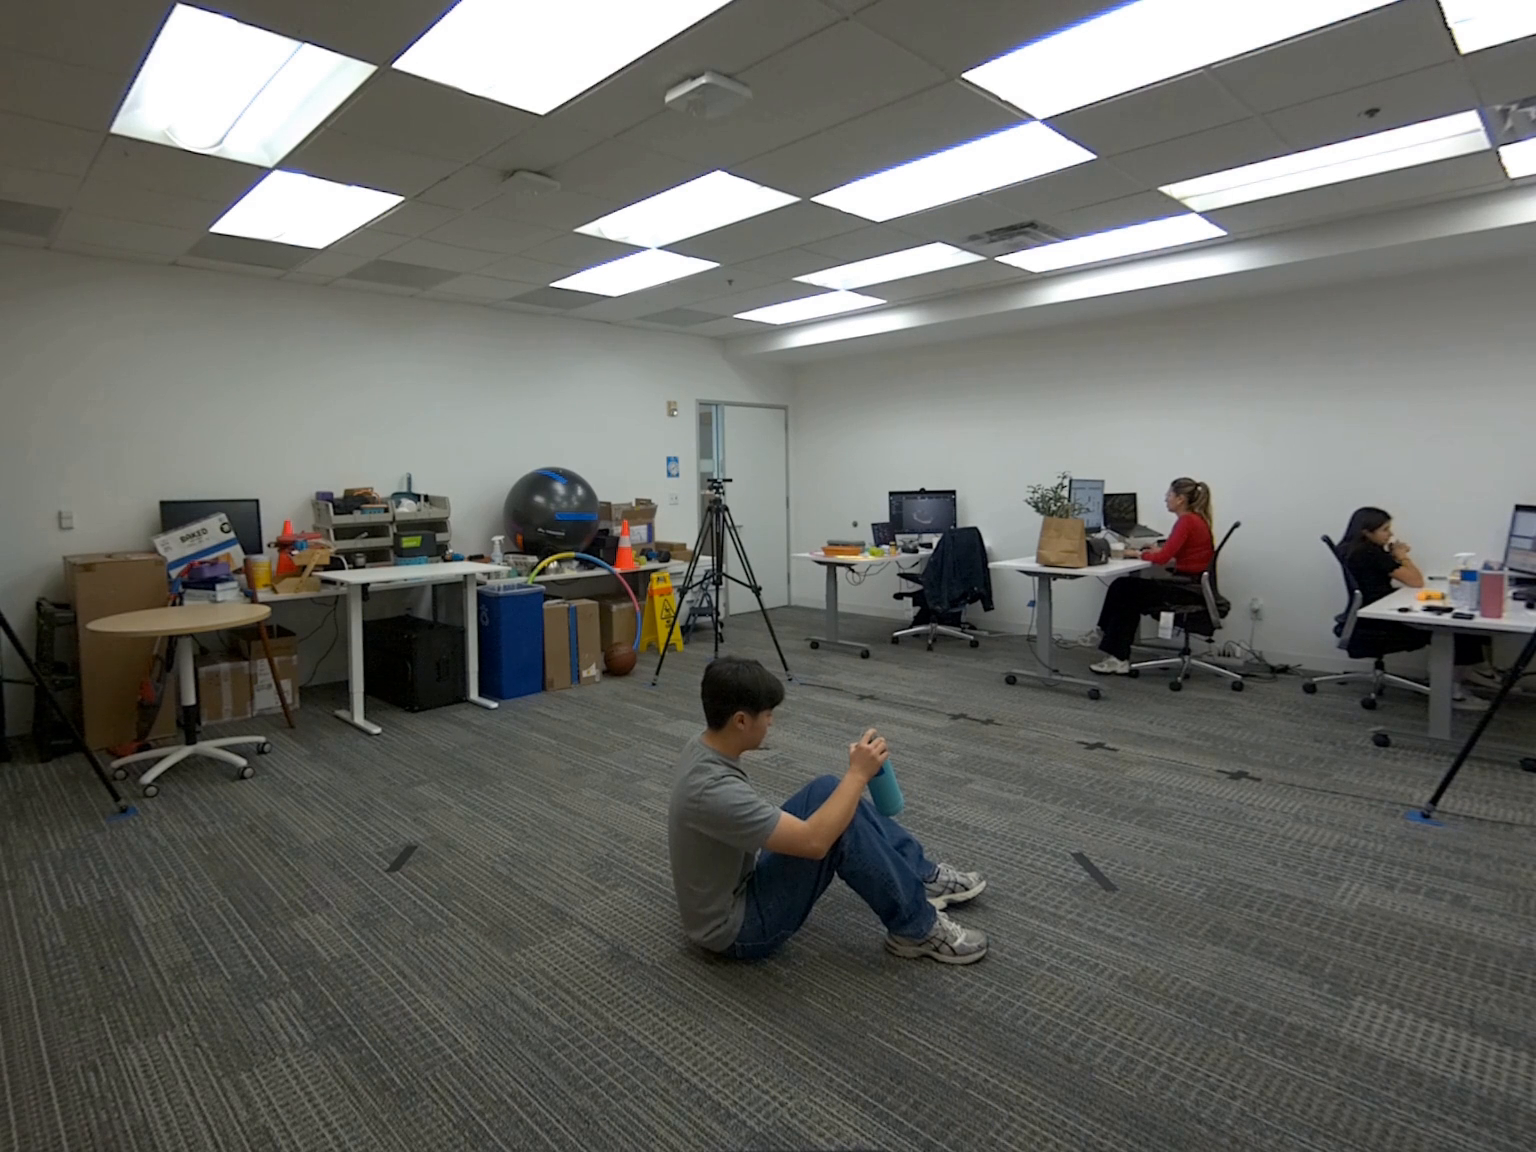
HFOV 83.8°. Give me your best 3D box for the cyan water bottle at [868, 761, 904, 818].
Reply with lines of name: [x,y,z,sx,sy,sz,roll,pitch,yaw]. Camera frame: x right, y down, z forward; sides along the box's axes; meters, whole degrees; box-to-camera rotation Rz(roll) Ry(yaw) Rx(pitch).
cyan water bottle: [0.337,0.597,2.566,0.093,0.275,0.094,-15,28,7]
